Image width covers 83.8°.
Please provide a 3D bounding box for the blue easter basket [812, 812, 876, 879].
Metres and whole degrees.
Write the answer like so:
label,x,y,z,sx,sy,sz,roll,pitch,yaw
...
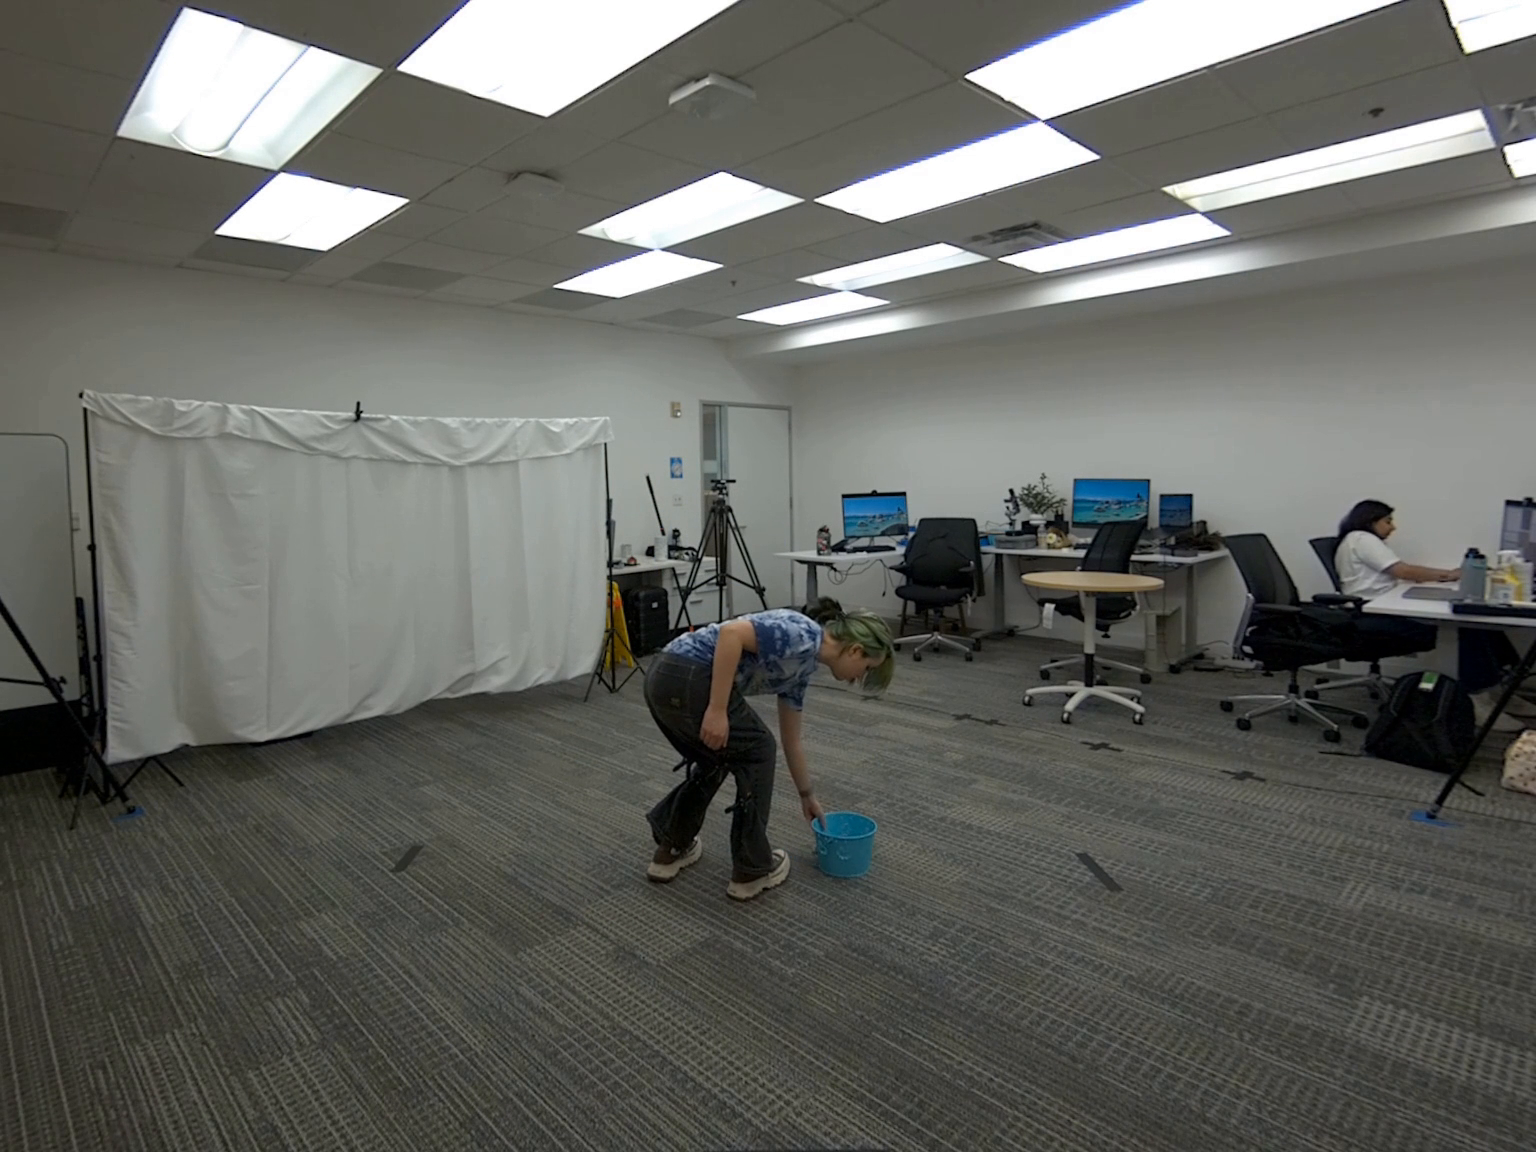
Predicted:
label,x,y,z,sx,sy,sz,roll,pitch,yaw
blue easter basket,0.270,0.964,3.076,0.243,0.155,0.245,-1,5,-2
